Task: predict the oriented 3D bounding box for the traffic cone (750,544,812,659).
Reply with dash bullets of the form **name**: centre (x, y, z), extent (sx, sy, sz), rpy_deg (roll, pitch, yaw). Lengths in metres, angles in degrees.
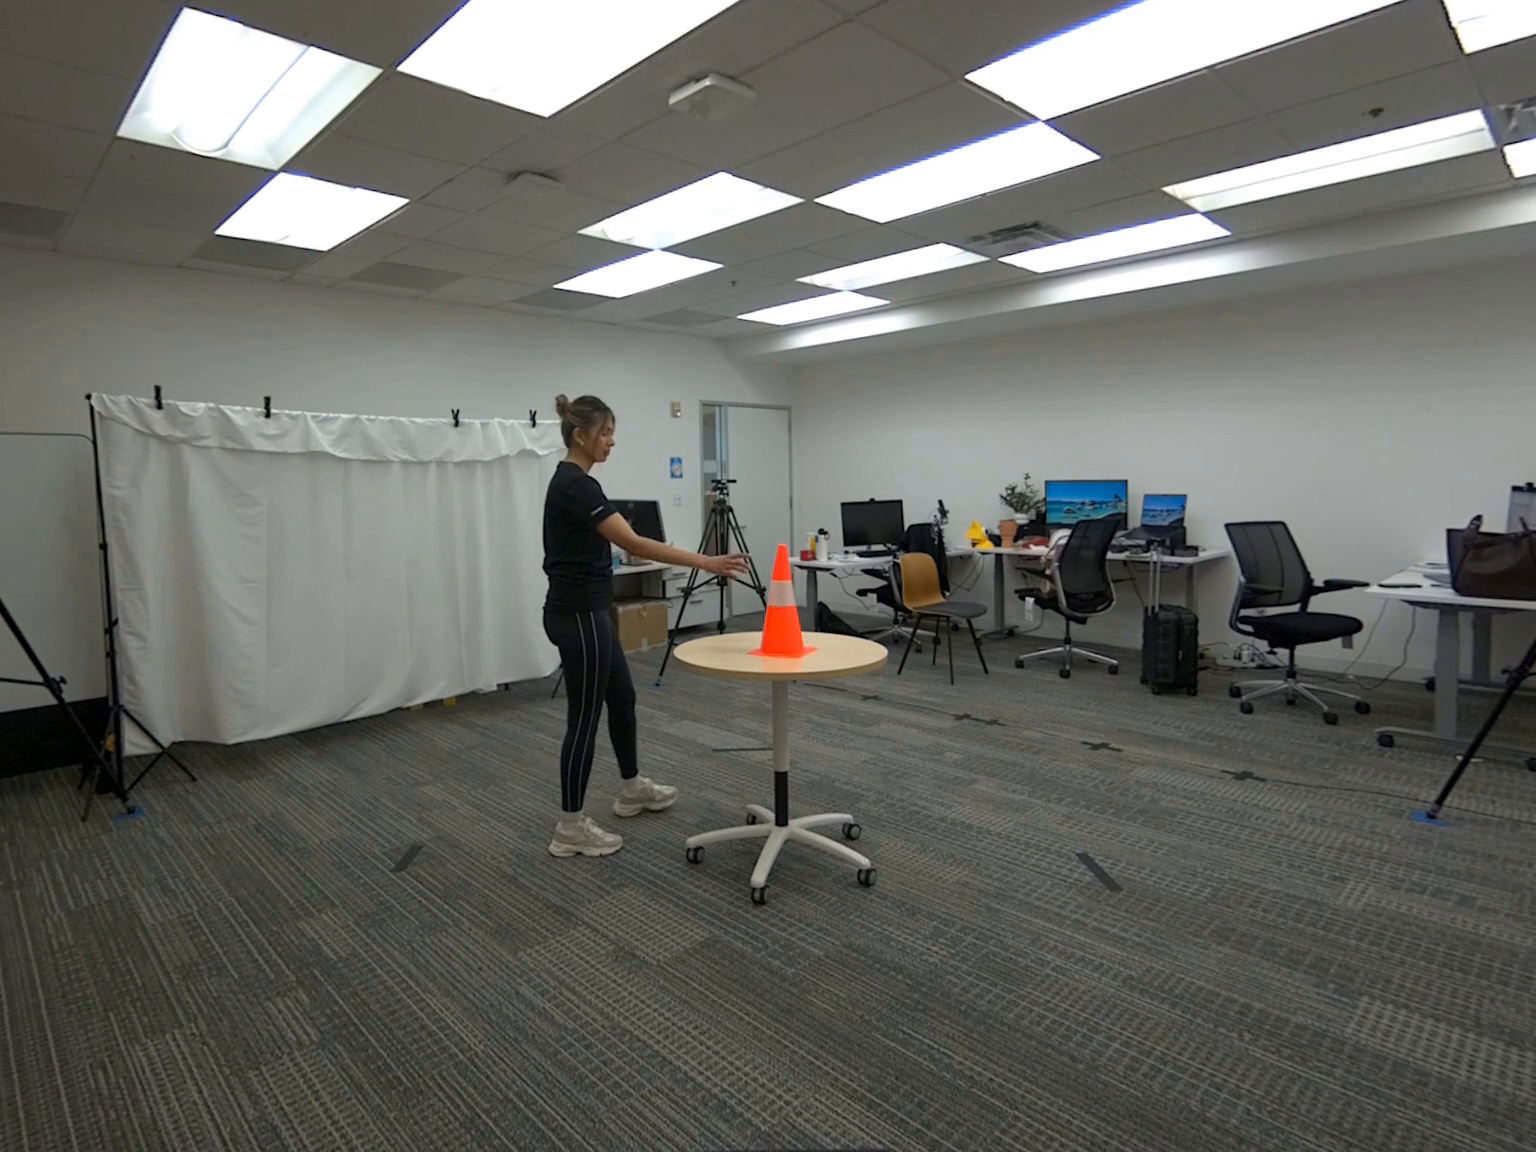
- **traffic cone**: centre (0.051, 0.085, 3.030), extent (0.209, 0.382, 0.200), rpy_deg (1, 5, 22)
